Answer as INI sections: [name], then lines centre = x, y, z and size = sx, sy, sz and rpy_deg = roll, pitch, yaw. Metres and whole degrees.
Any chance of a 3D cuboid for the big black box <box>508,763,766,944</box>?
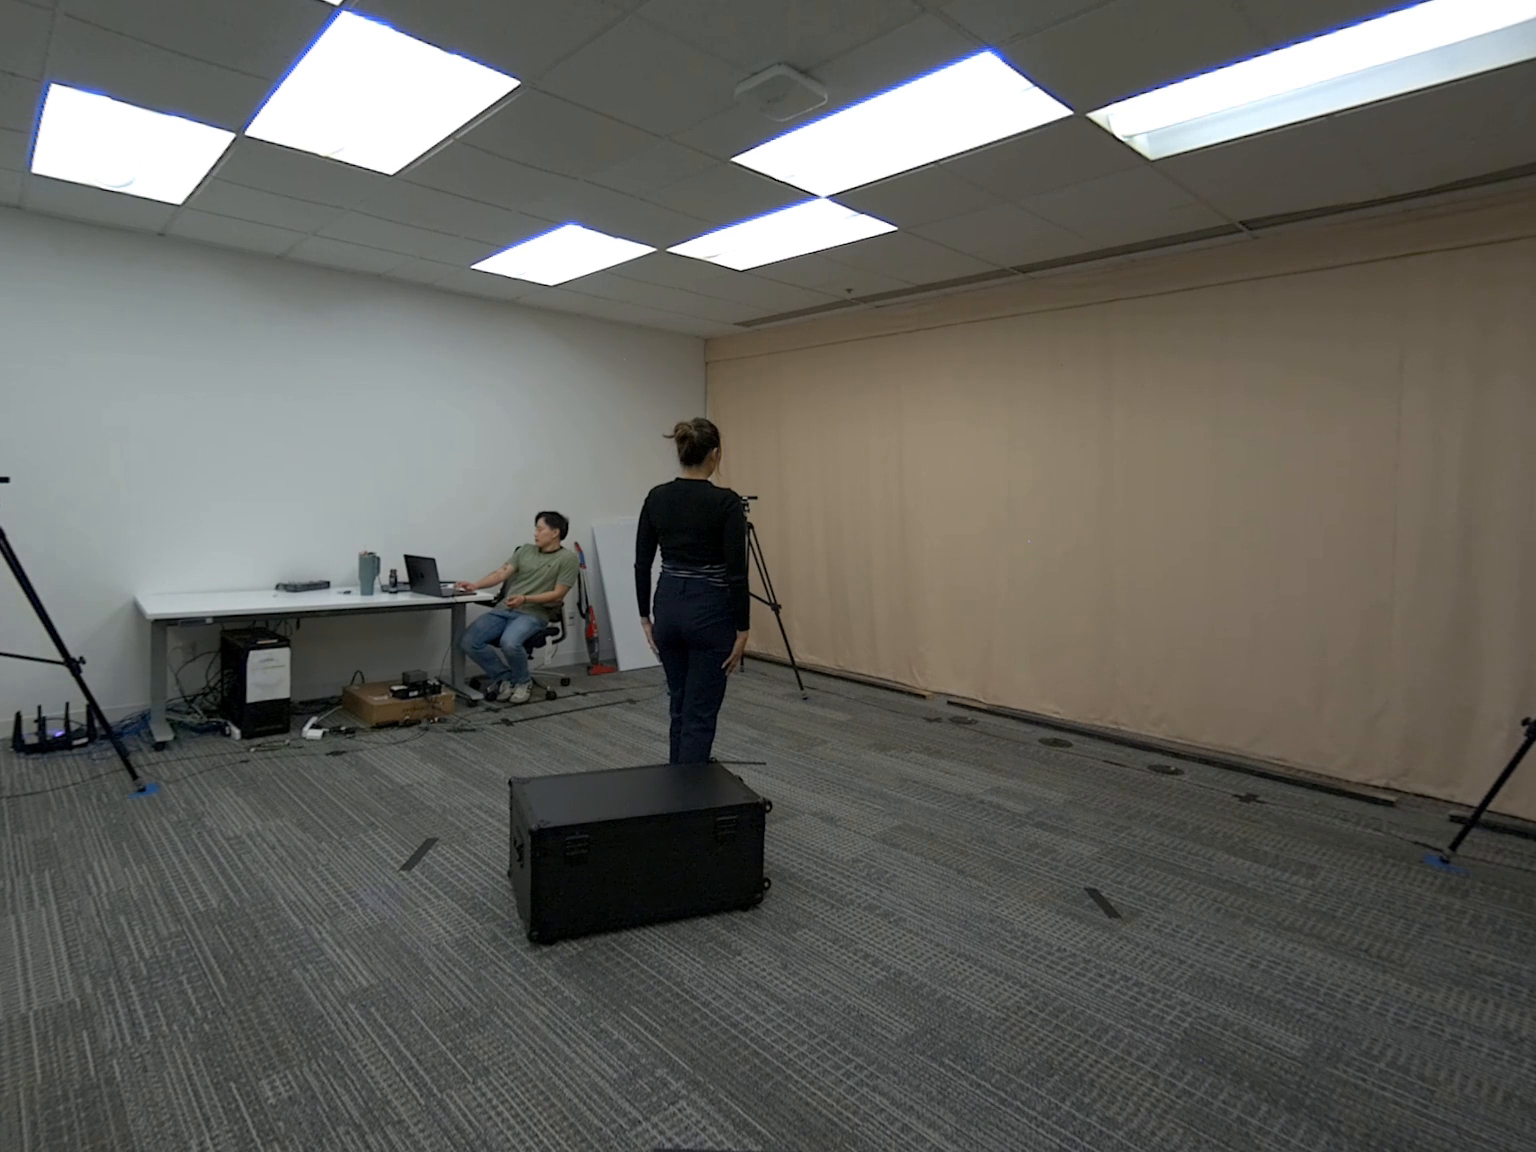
[big black box]
centre = -0.495, 0.924, 2.898
size = 0.847, 0.395, 0.531
rpy_deg = 0, 4, -23
